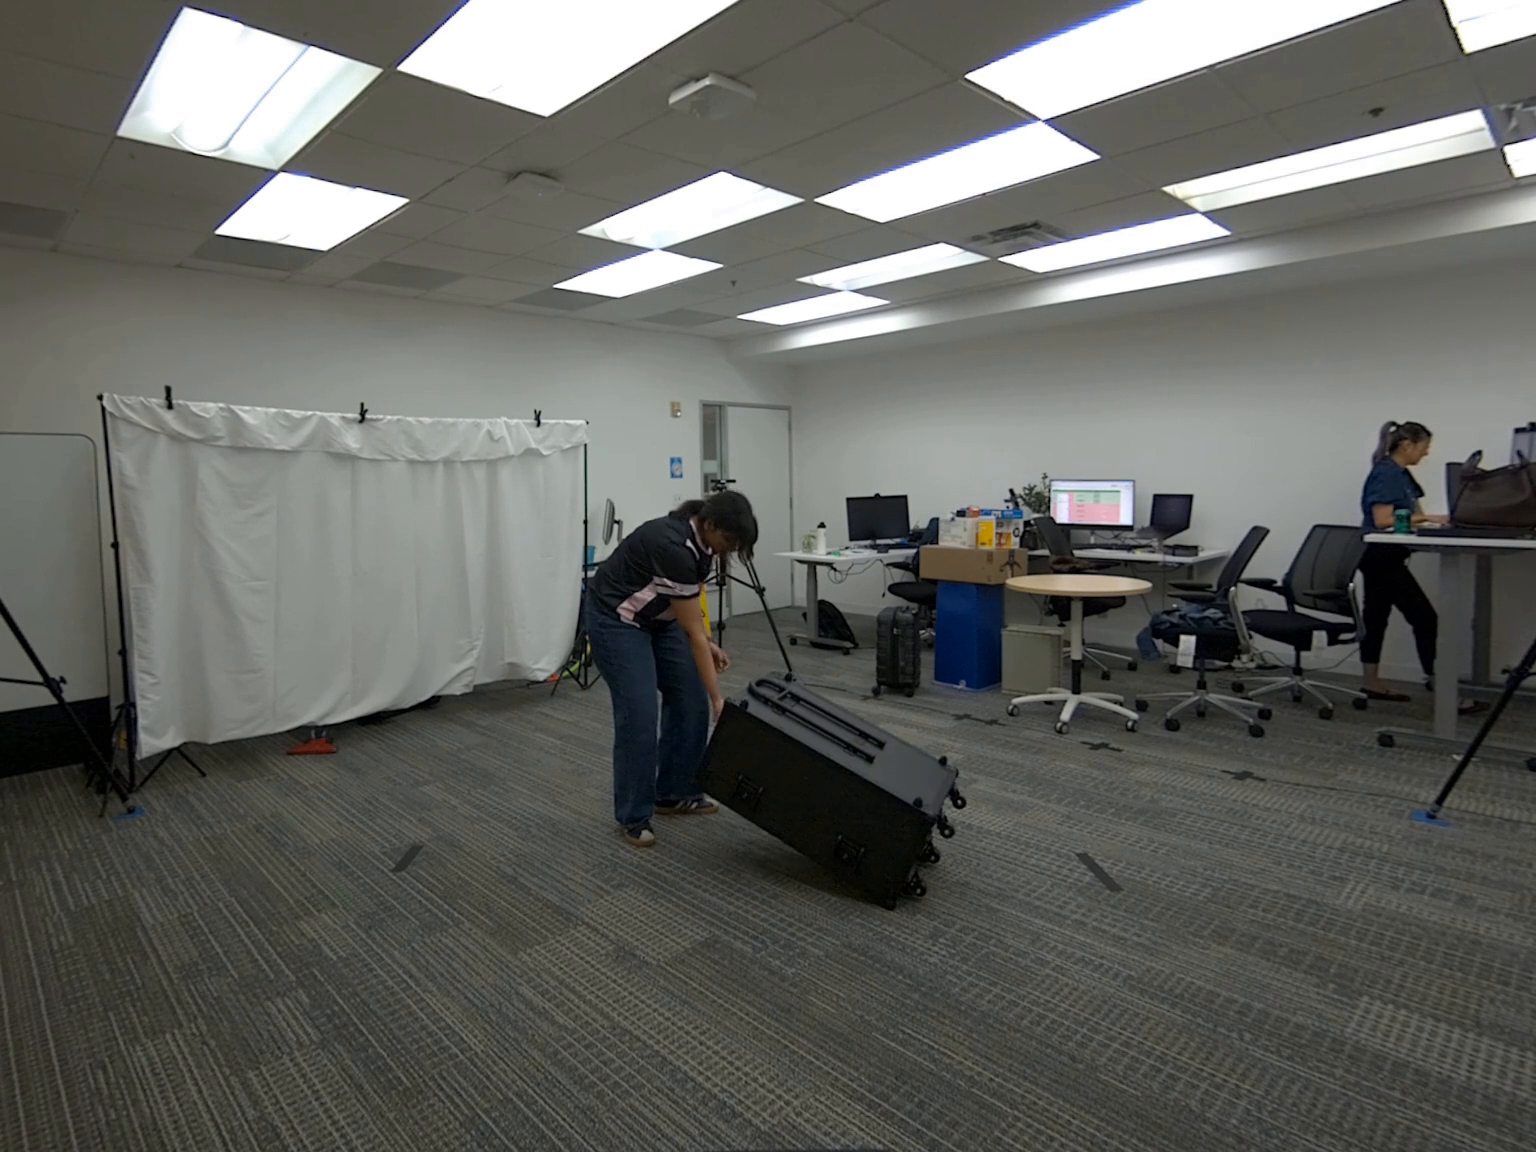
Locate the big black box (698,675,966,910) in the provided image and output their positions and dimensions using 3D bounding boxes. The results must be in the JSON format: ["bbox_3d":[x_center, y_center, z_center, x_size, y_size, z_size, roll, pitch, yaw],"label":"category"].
[{"bbox_3d":[0.245,0.728,3.053,0.882,0.393,0.512,27,15,19],"label":"big black box"}]
